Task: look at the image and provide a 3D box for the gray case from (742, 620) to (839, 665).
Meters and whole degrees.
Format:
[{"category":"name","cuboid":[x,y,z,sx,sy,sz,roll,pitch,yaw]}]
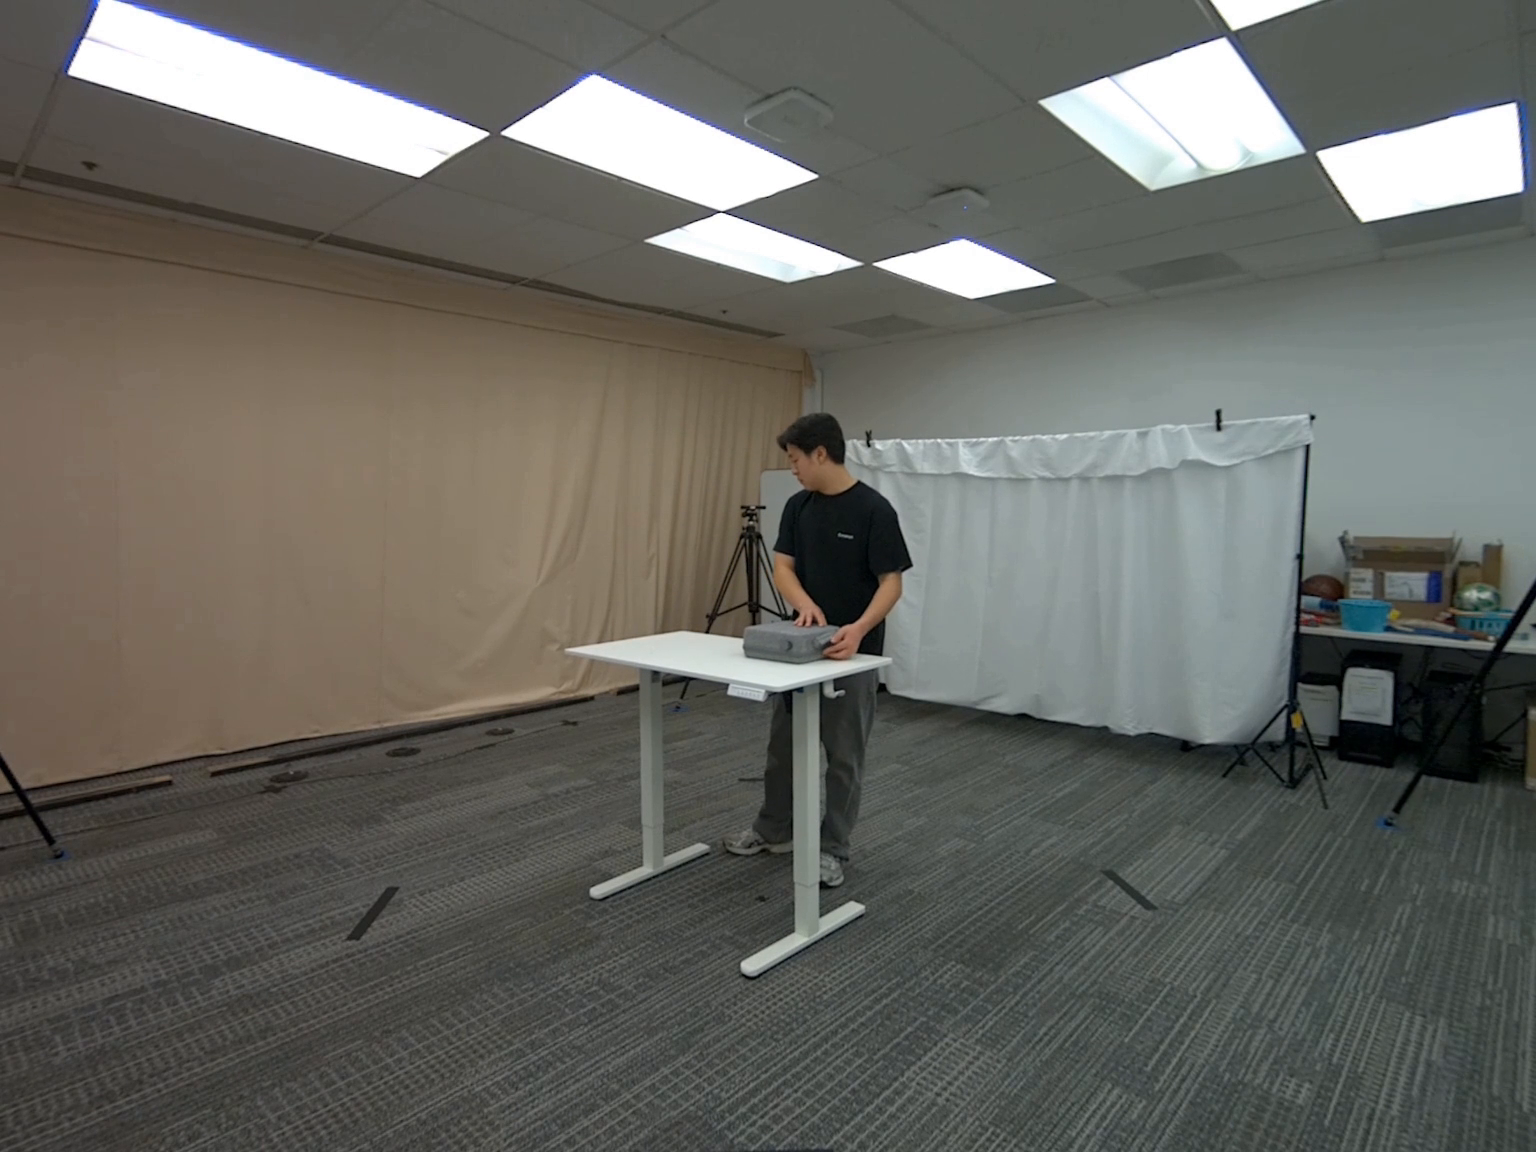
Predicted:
[{"category":"gray case","cuboid":[0.080,0.222,2.830,0.269,0.104,0.249,4,4,40]}]
